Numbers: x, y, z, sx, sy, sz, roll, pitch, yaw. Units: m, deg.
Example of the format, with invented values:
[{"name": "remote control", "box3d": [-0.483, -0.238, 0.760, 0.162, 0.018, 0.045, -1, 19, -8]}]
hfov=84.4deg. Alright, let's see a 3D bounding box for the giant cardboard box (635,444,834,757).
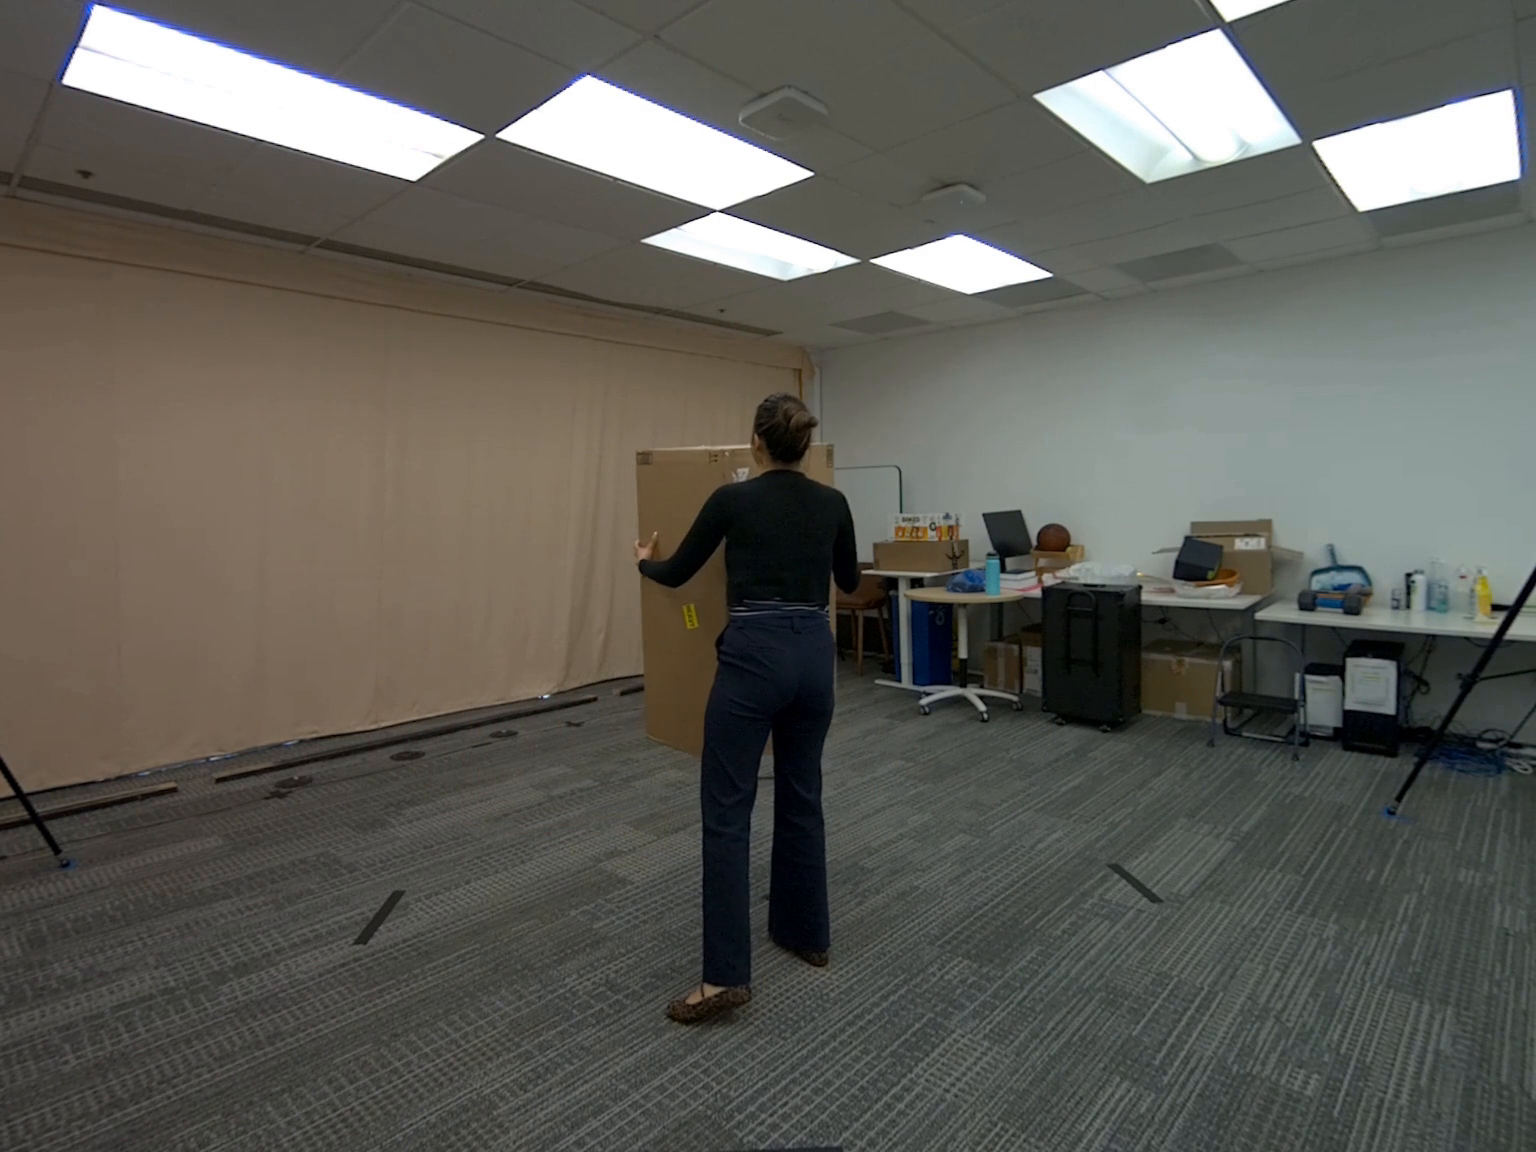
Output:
[{"name": "giant cardboard box", "box3d": [-0.104, 0.057, 2.984, 0.441, 1.020, 0.561, 6, 11, 43]}]
